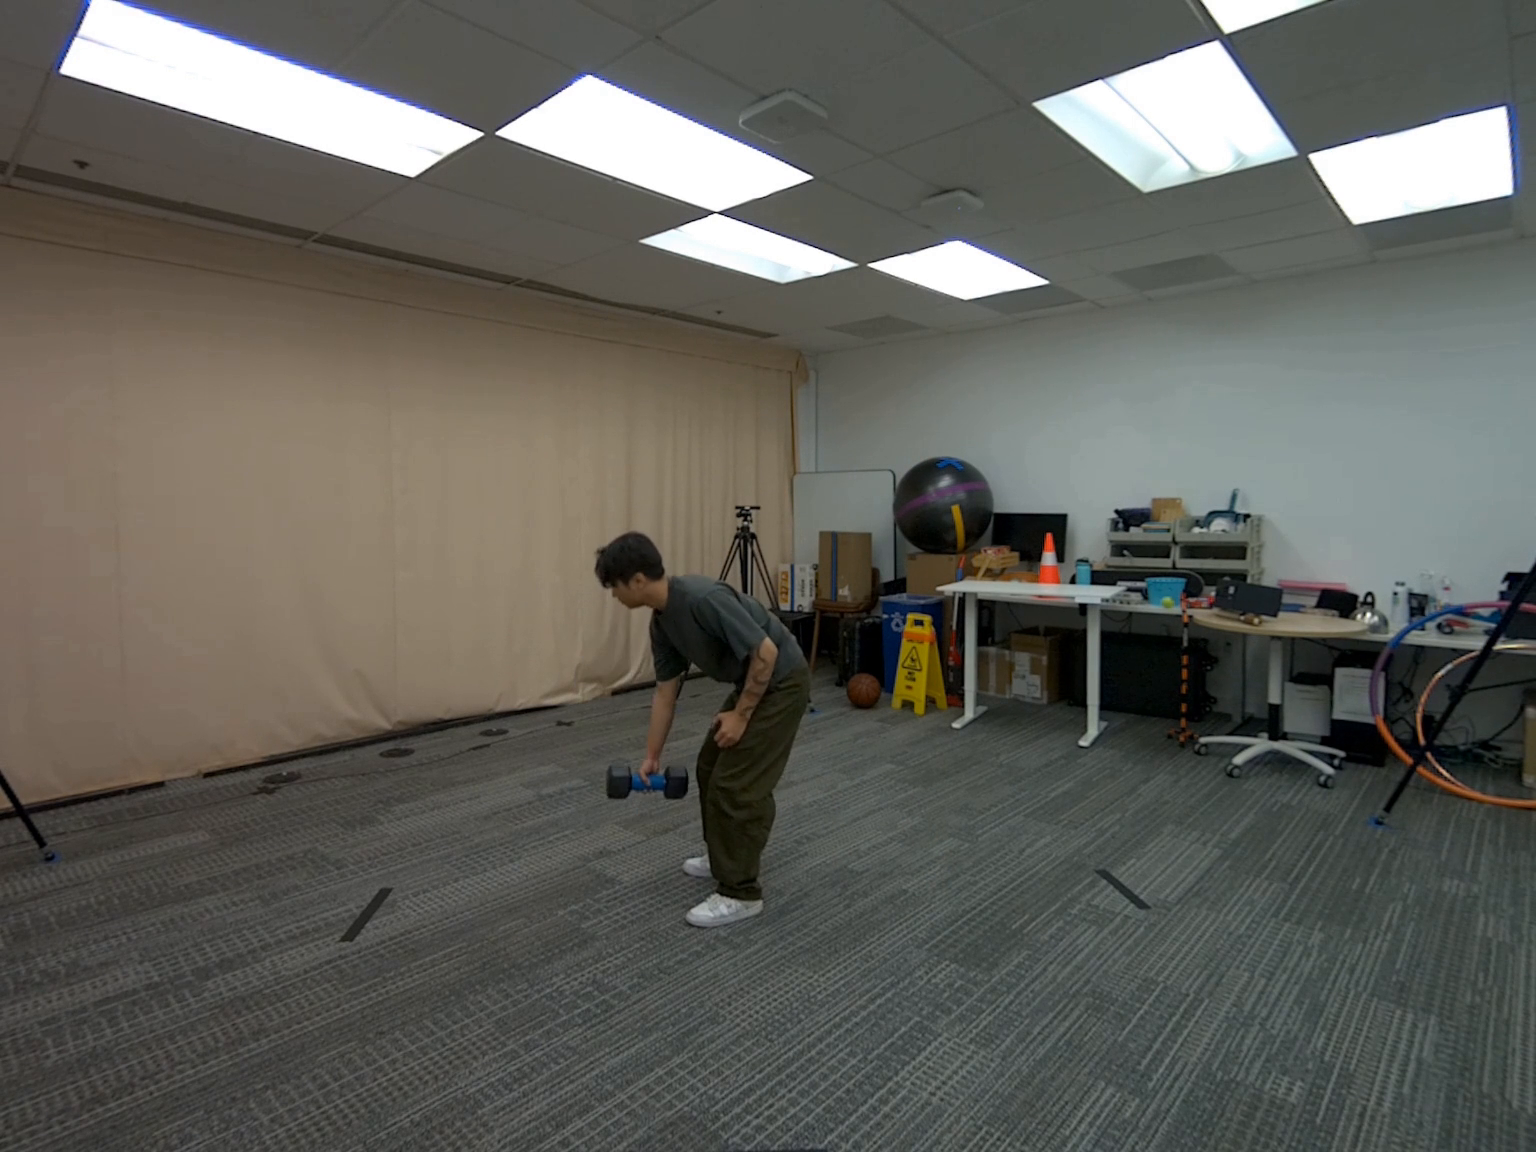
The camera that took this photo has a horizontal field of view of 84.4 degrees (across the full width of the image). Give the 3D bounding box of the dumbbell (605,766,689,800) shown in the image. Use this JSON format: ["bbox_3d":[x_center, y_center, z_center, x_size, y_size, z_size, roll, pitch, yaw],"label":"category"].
[{"bbox_3d":[-0.449,0.754,3.082,0.288,0.108,0.126,6,23,-15],"label":"dumbbell"}]
